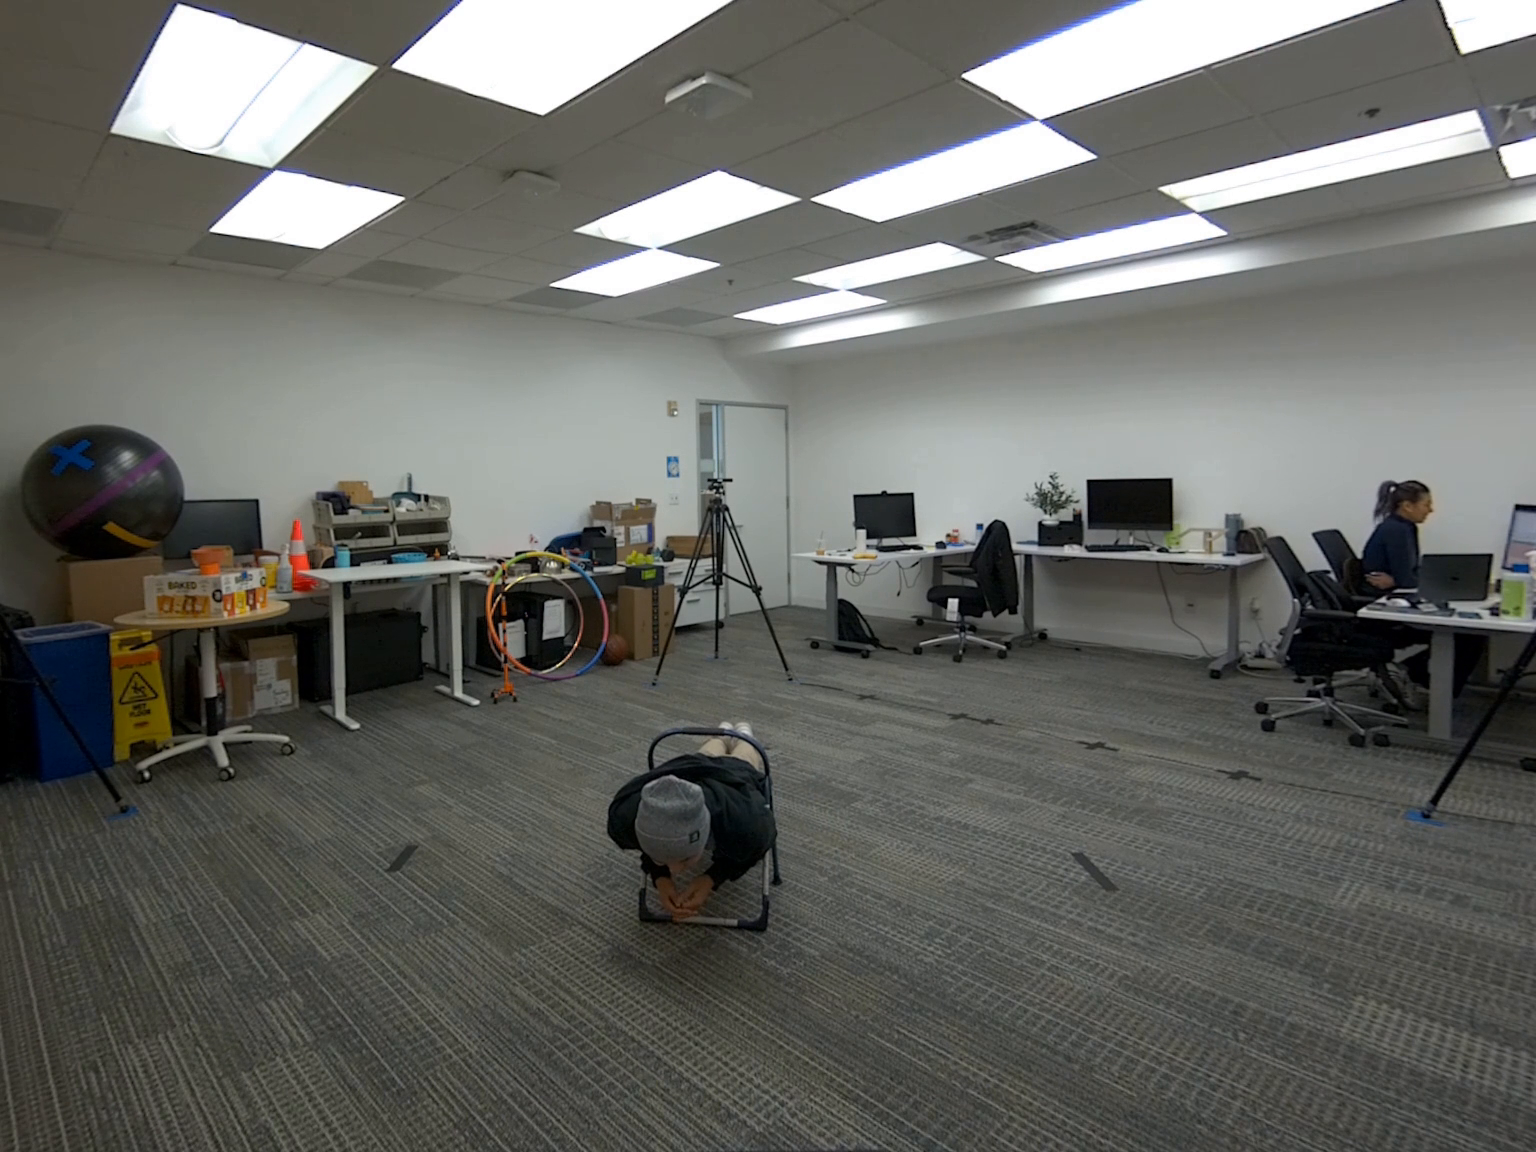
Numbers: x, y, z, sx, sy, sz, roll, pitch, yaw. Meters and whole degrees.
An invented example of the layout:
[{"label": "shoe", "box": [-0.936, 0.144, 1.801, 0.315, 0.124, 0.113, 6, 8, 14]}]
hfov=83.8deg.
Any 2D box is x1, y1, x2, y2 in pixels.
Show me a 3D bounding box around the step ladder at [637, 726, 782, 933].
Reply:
[{"label": "step ladder", "box": [-0.185, 0.783, 2.818, 0.434, 0.603, 0.348, -1, 6, 8]}]
